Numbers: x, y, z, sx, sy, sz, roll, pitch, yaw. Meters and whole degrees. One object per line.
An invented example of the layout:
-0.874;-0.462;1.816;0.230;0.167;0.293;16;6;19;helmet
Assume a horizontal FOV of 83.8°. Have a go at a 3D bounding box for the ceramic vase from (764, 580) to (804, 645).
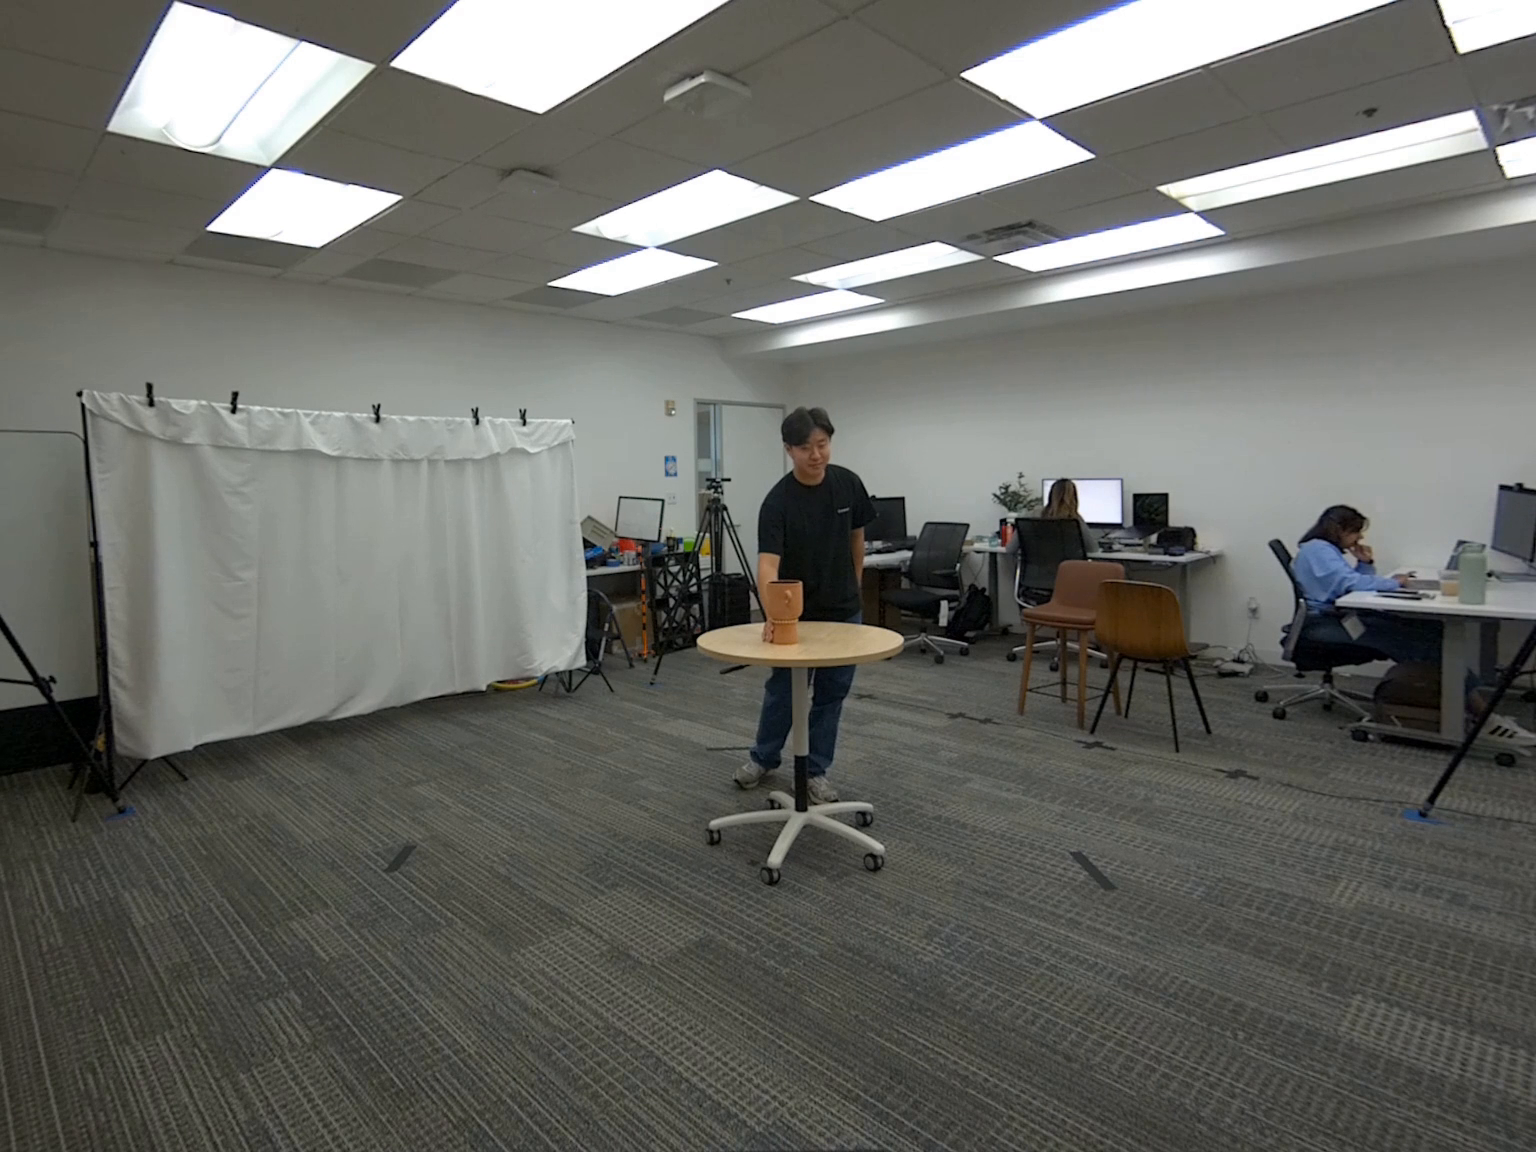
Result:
0.058;0.134;3.111;0.138;0.219;0.155;-1;4;29;ceramic vase
